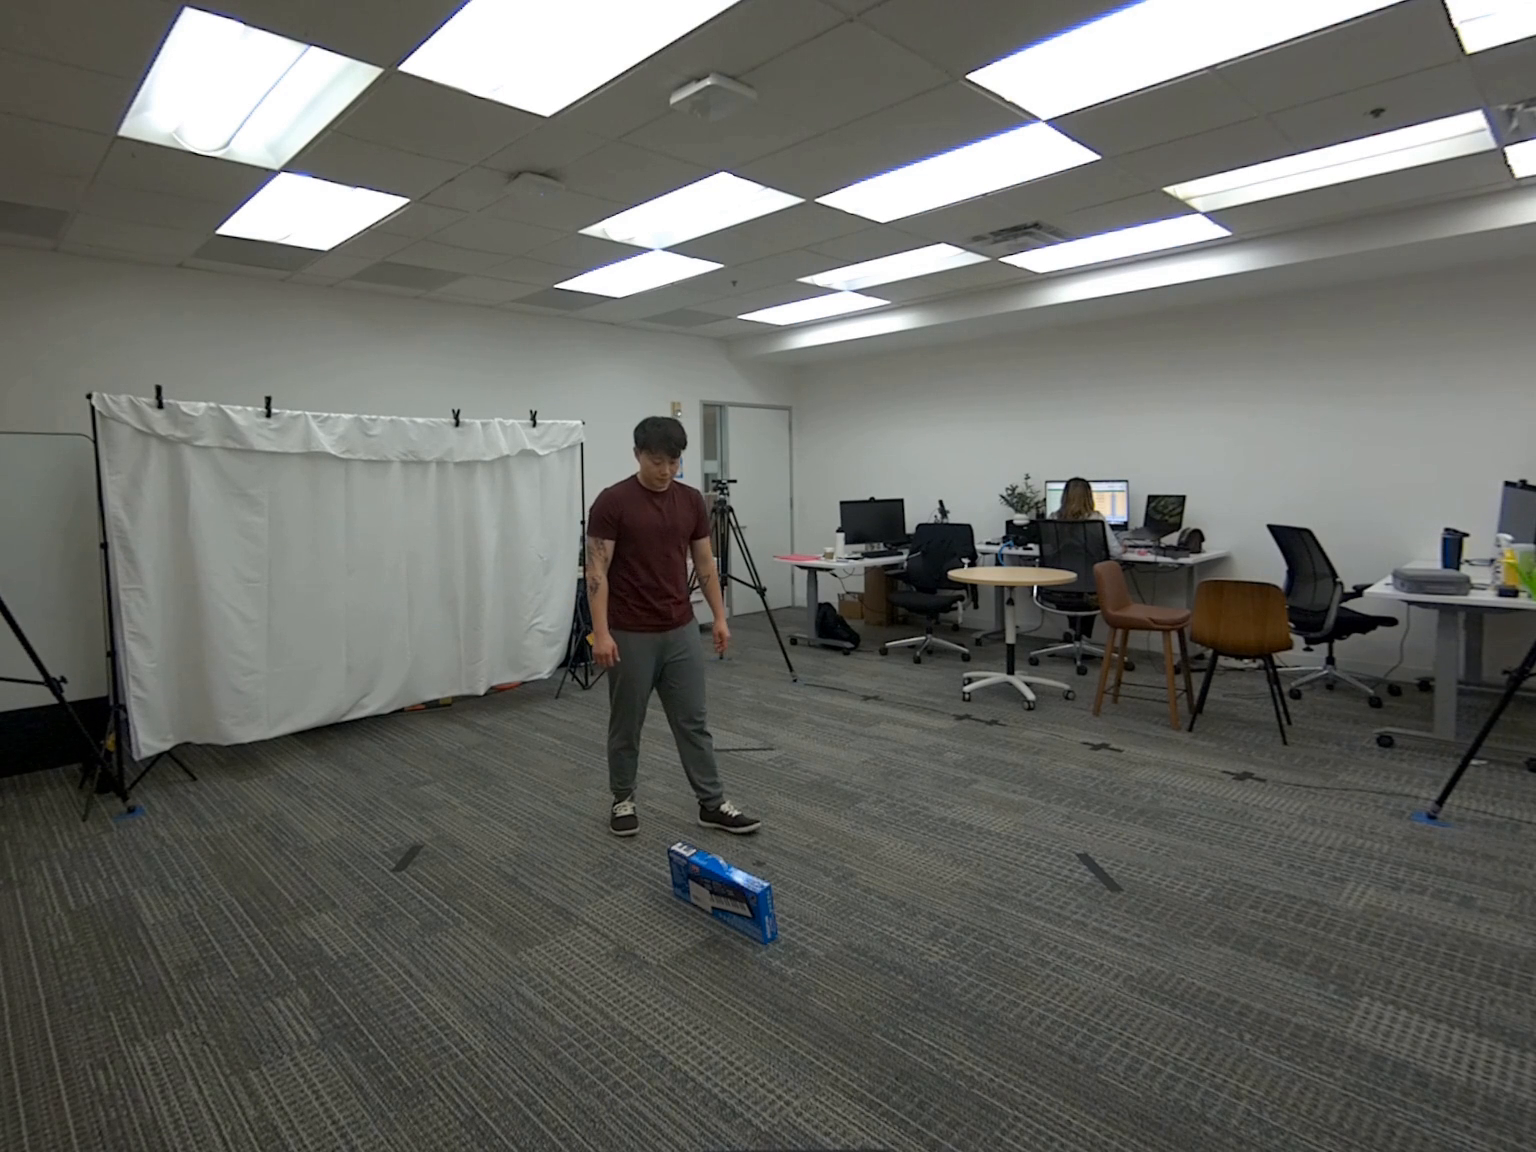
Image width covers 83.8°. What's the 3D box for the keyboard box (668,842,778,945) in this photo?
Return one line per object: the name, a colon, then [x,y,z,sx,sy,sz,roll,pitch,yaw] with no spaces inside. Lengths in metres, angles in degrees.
keyboard box: [-0.148,1.009,2.728,0.058,0.174,0.450,-16,14,-42]
